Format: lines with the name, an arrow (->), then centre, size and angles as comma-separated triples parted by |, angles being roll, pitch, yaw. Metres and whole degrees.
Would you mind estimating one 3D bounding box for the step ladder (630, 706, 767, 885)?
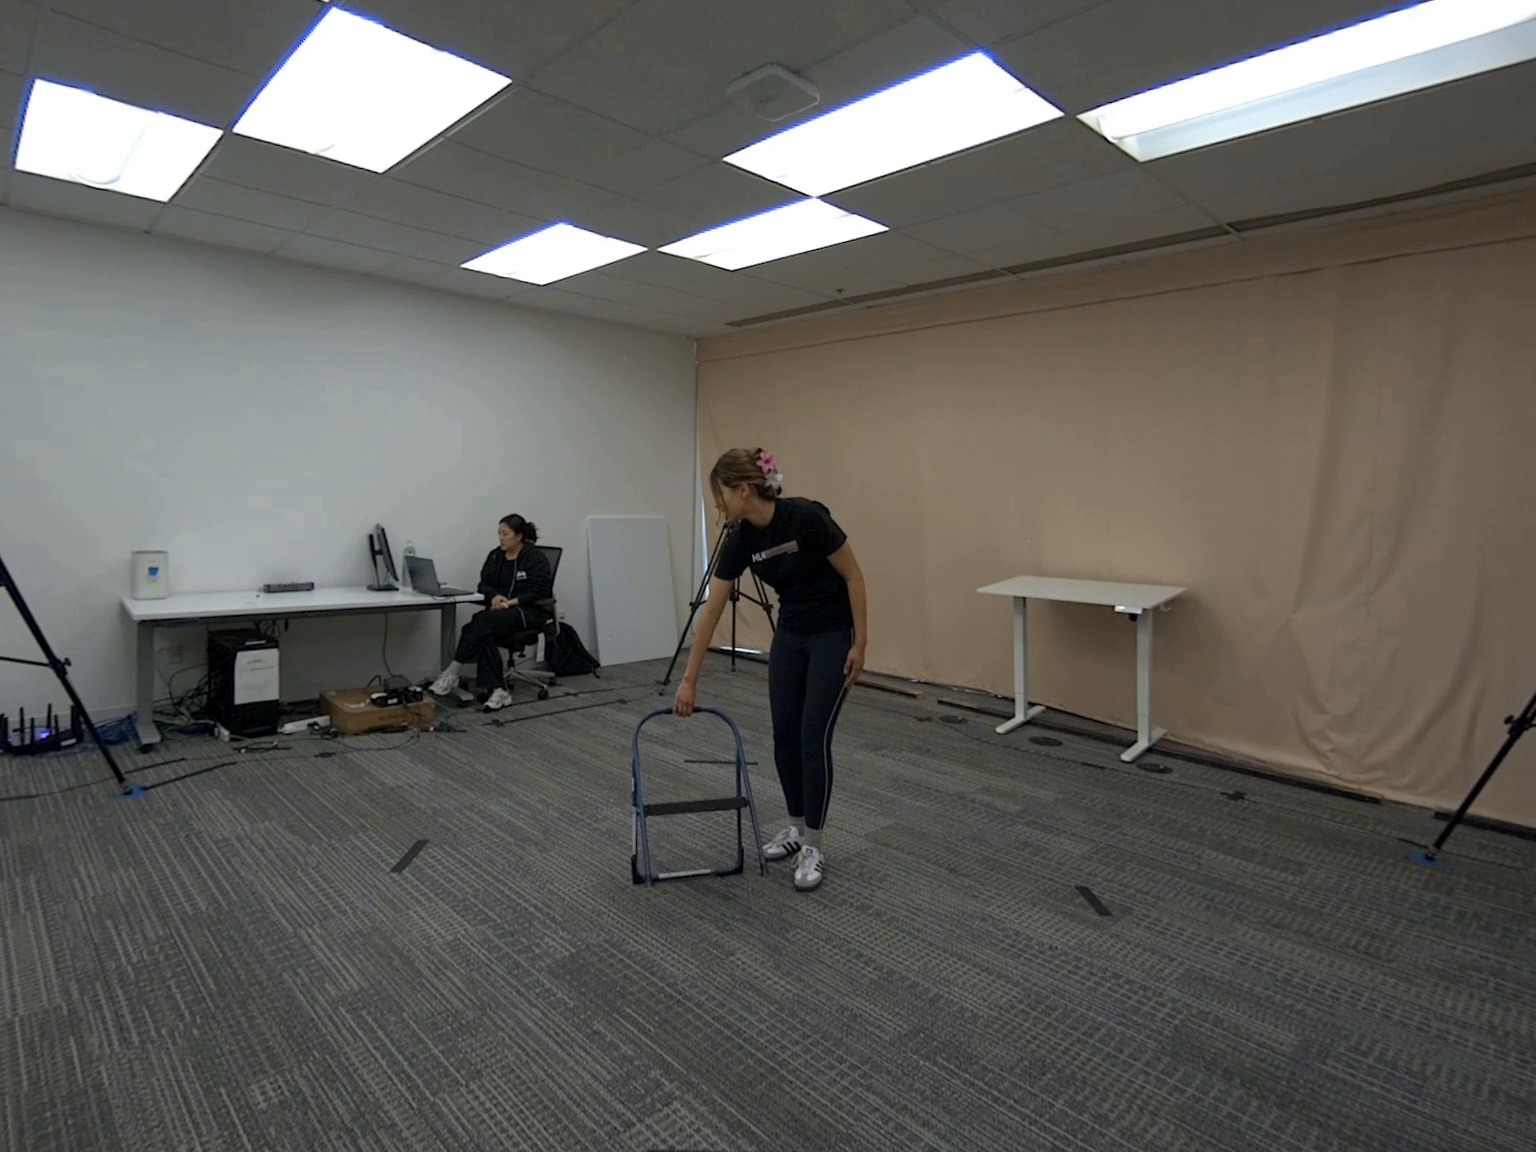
step ladder -> -0.276, 0.770, 3.022 | 0.425, 0.615, 0.348 | 0, -20, -17
